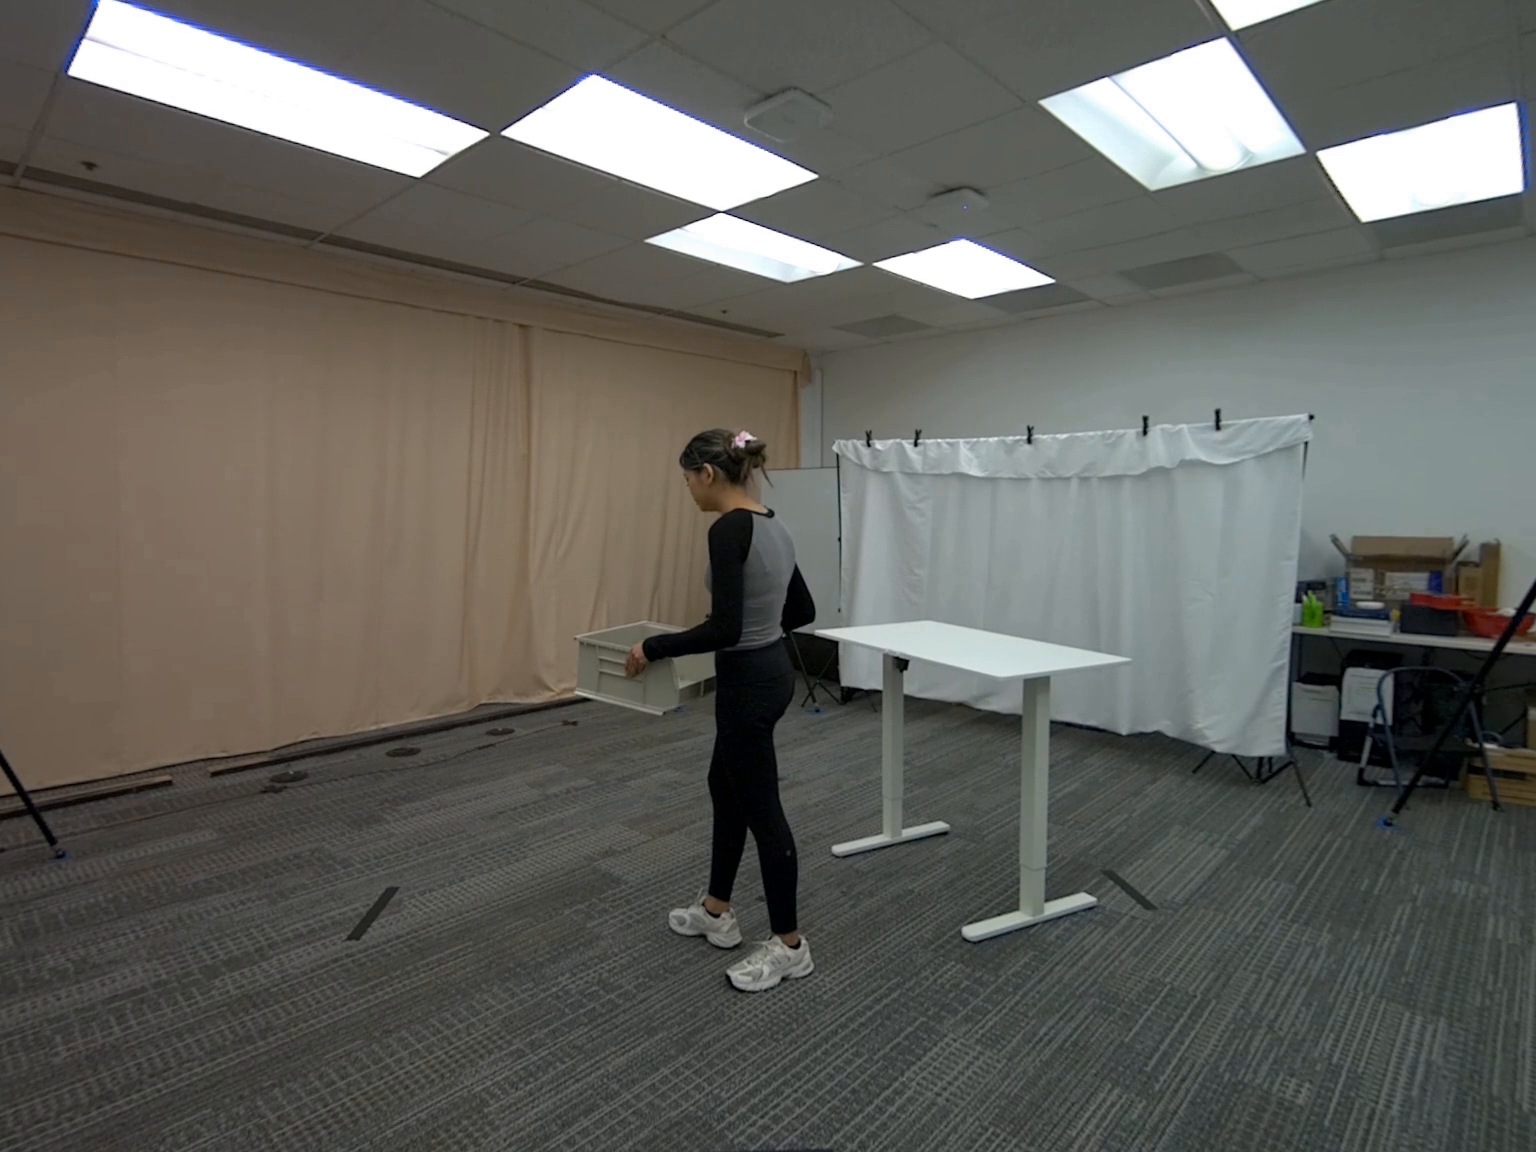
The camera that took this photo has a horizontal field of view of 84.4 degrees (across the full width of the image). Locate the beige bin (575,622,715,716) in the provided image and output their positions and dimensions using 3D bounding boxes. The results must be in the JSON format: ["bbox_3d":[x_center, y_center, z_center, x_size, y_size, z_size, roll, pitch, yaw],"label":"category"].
[{"bbox_3d":[-0.339,0.282,2.671,0.387,0.188,0.413,6,7,24],"label":"beige bin"}]
